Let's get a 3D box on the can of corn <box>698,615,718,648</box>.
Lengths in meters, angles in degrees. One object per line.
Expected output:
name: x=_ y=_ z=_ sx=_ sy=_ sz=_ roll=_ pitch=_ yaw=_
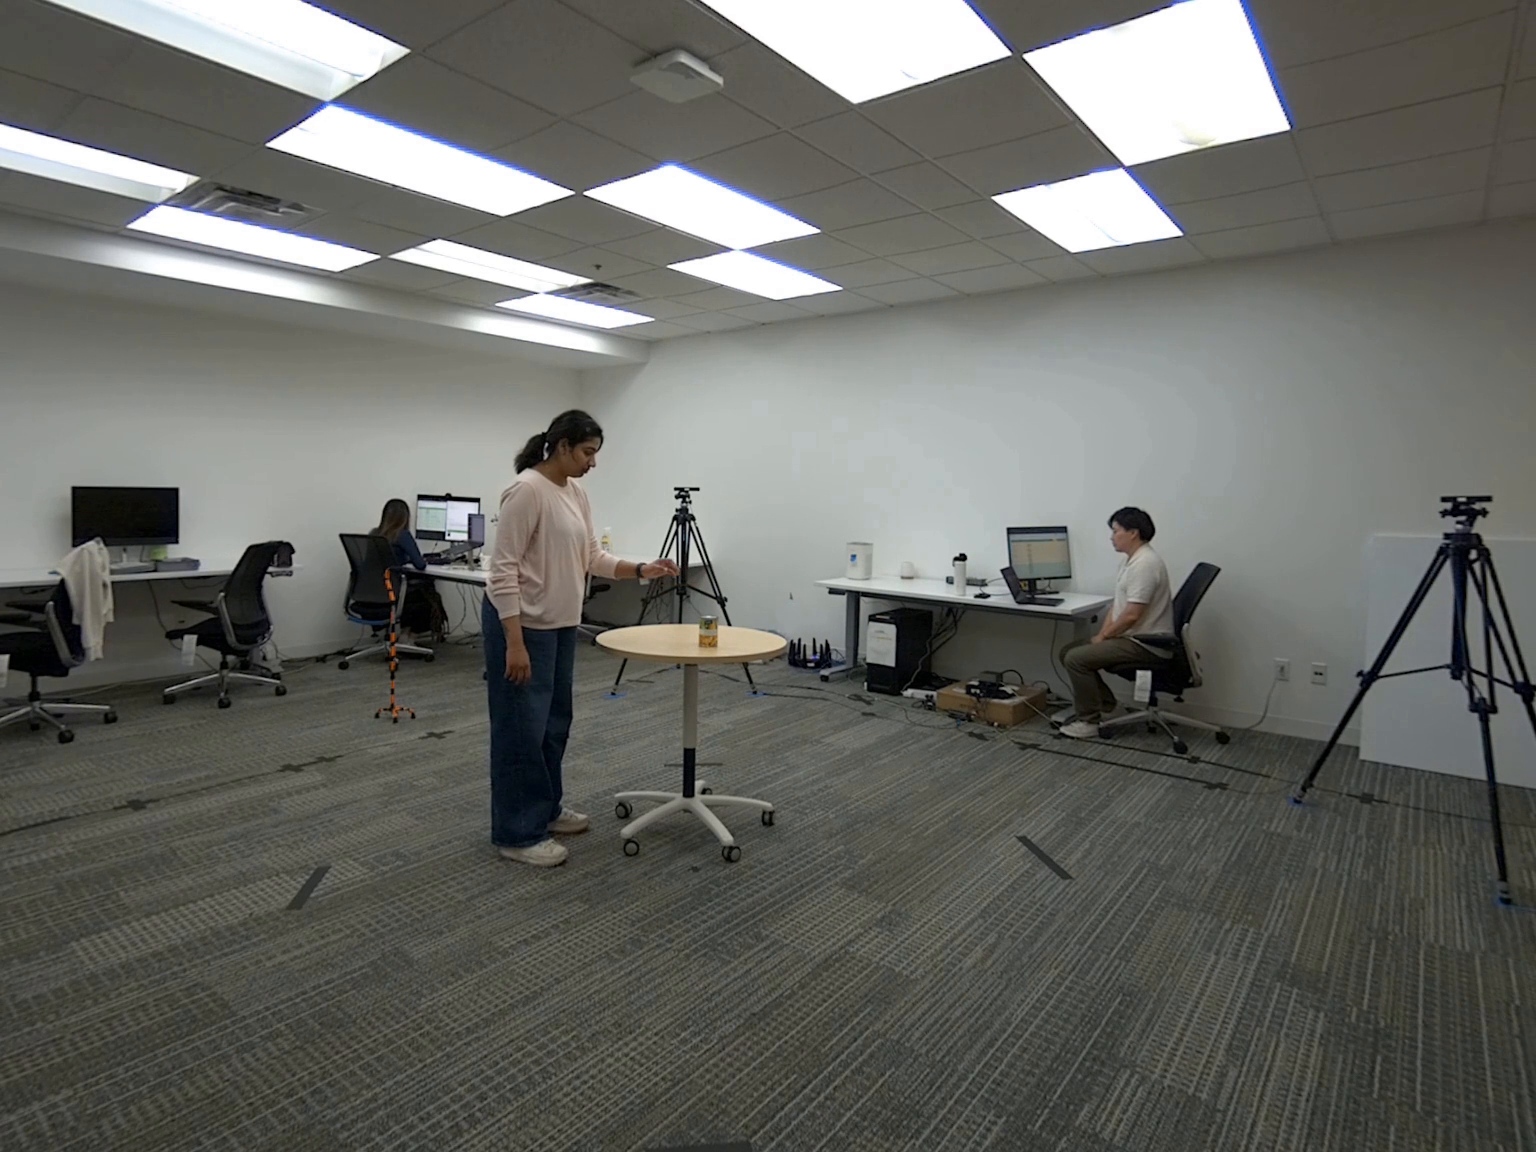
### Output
can of corn: x=-0.240 y=0.212 z=3.270 sx=0.074 sy=0.111 sz=0.074 roll=1 pitch=2 yaw=-2
